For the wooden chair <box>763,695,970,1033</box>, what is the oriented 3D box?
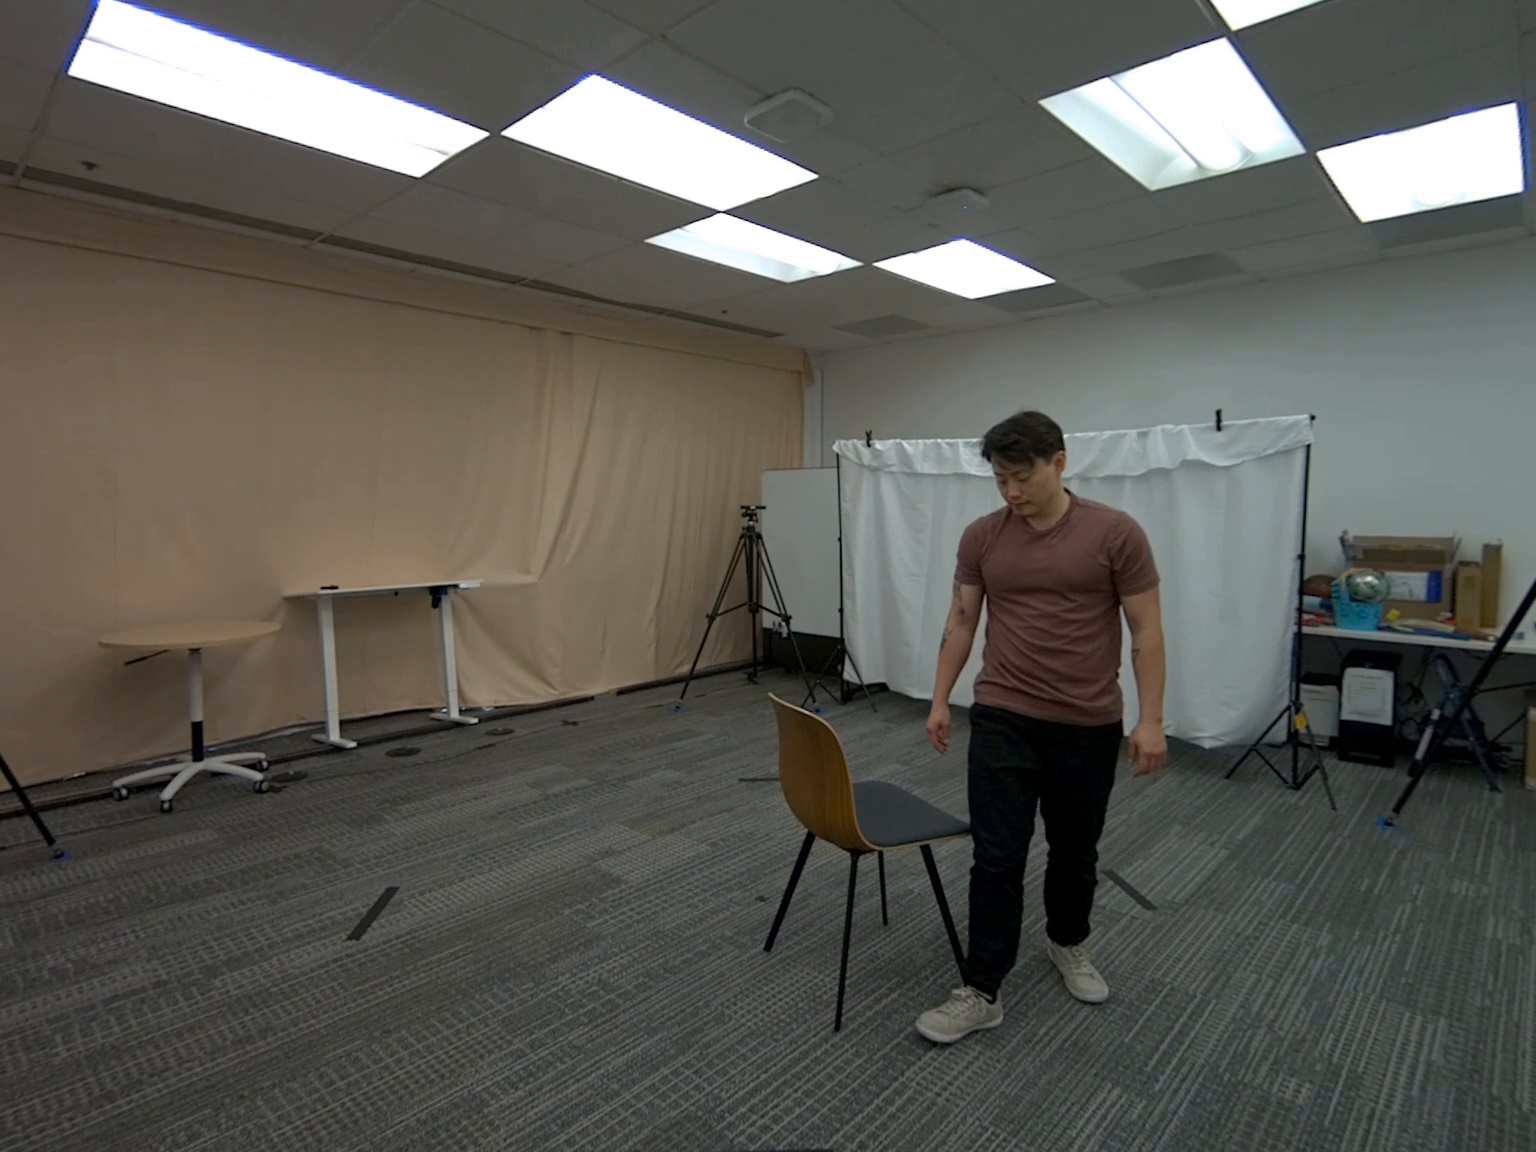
[{"bbox_3d":[0.300,0.757,2.496,0.512,0.874,0.490,-6,5,-23],"label":"wooden chair"}]
